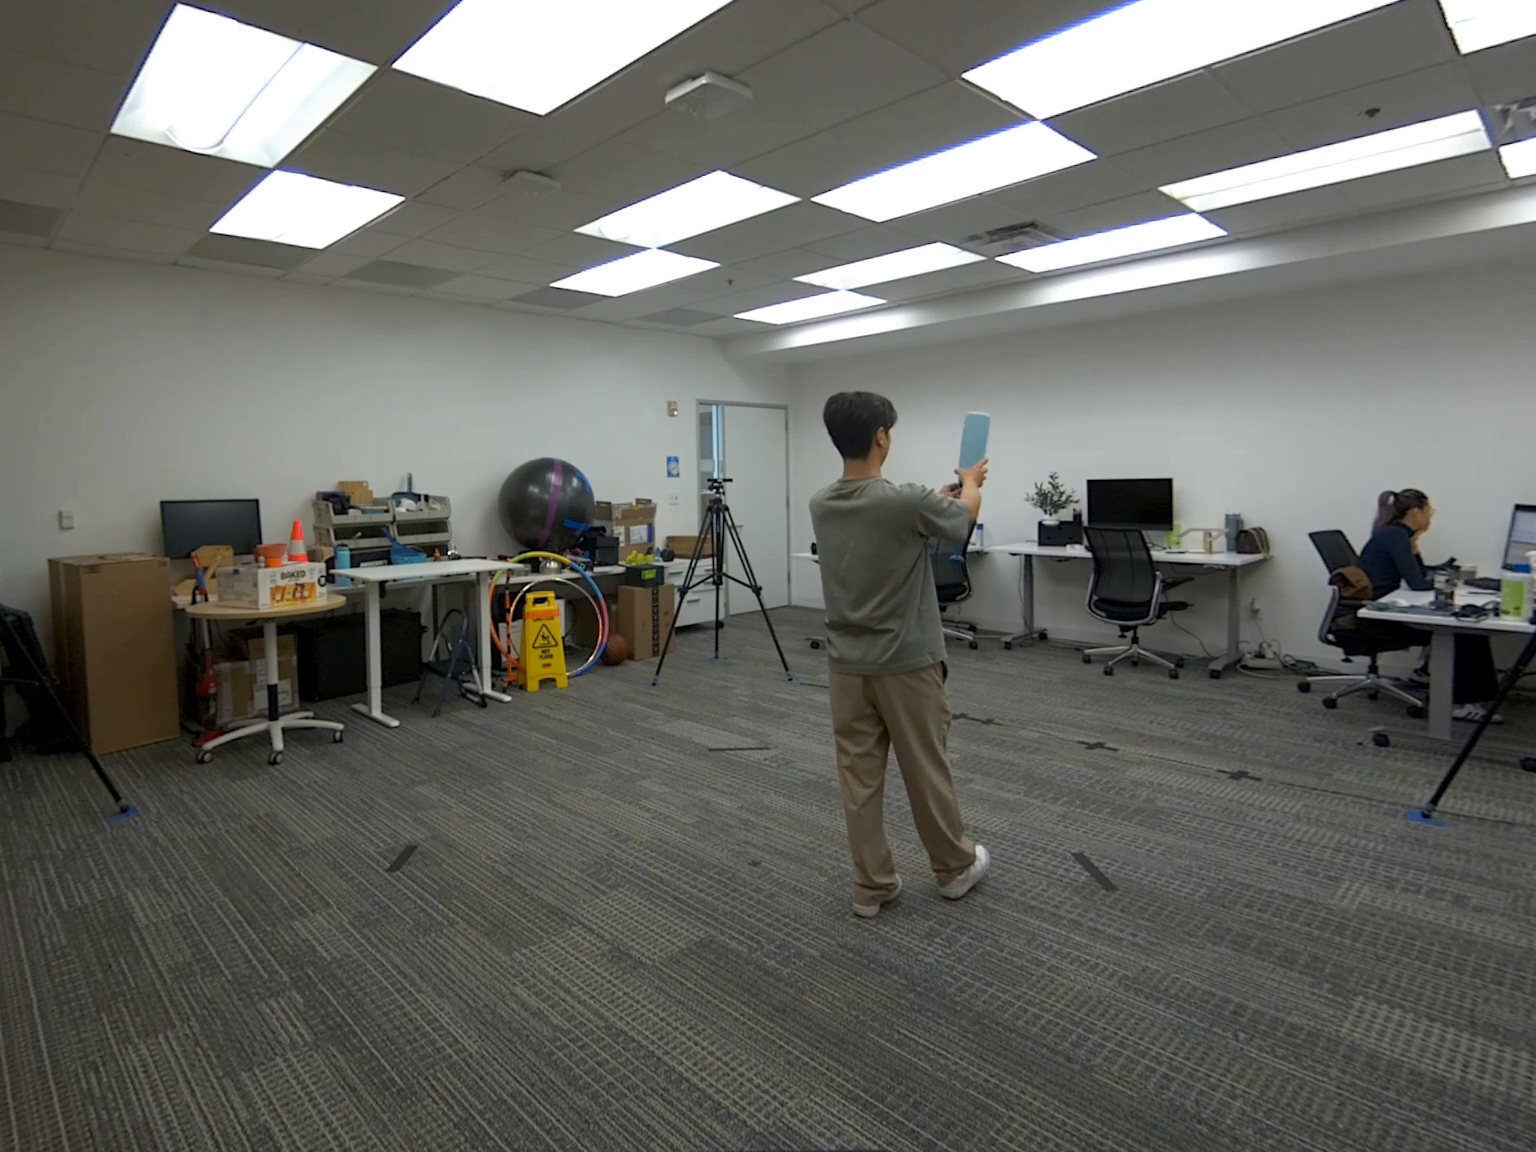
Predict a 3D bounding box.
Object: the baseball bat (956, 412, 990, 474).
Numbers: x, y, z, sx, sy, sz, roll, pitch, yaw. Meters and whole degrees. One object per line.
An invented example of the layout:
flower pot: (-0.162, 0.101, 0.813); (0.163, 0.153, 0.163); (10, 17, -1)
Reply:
baseball bat: (0.720, -0.319, 3.046); (0.089, 0.543, 0.089); (9, 0, -2)
